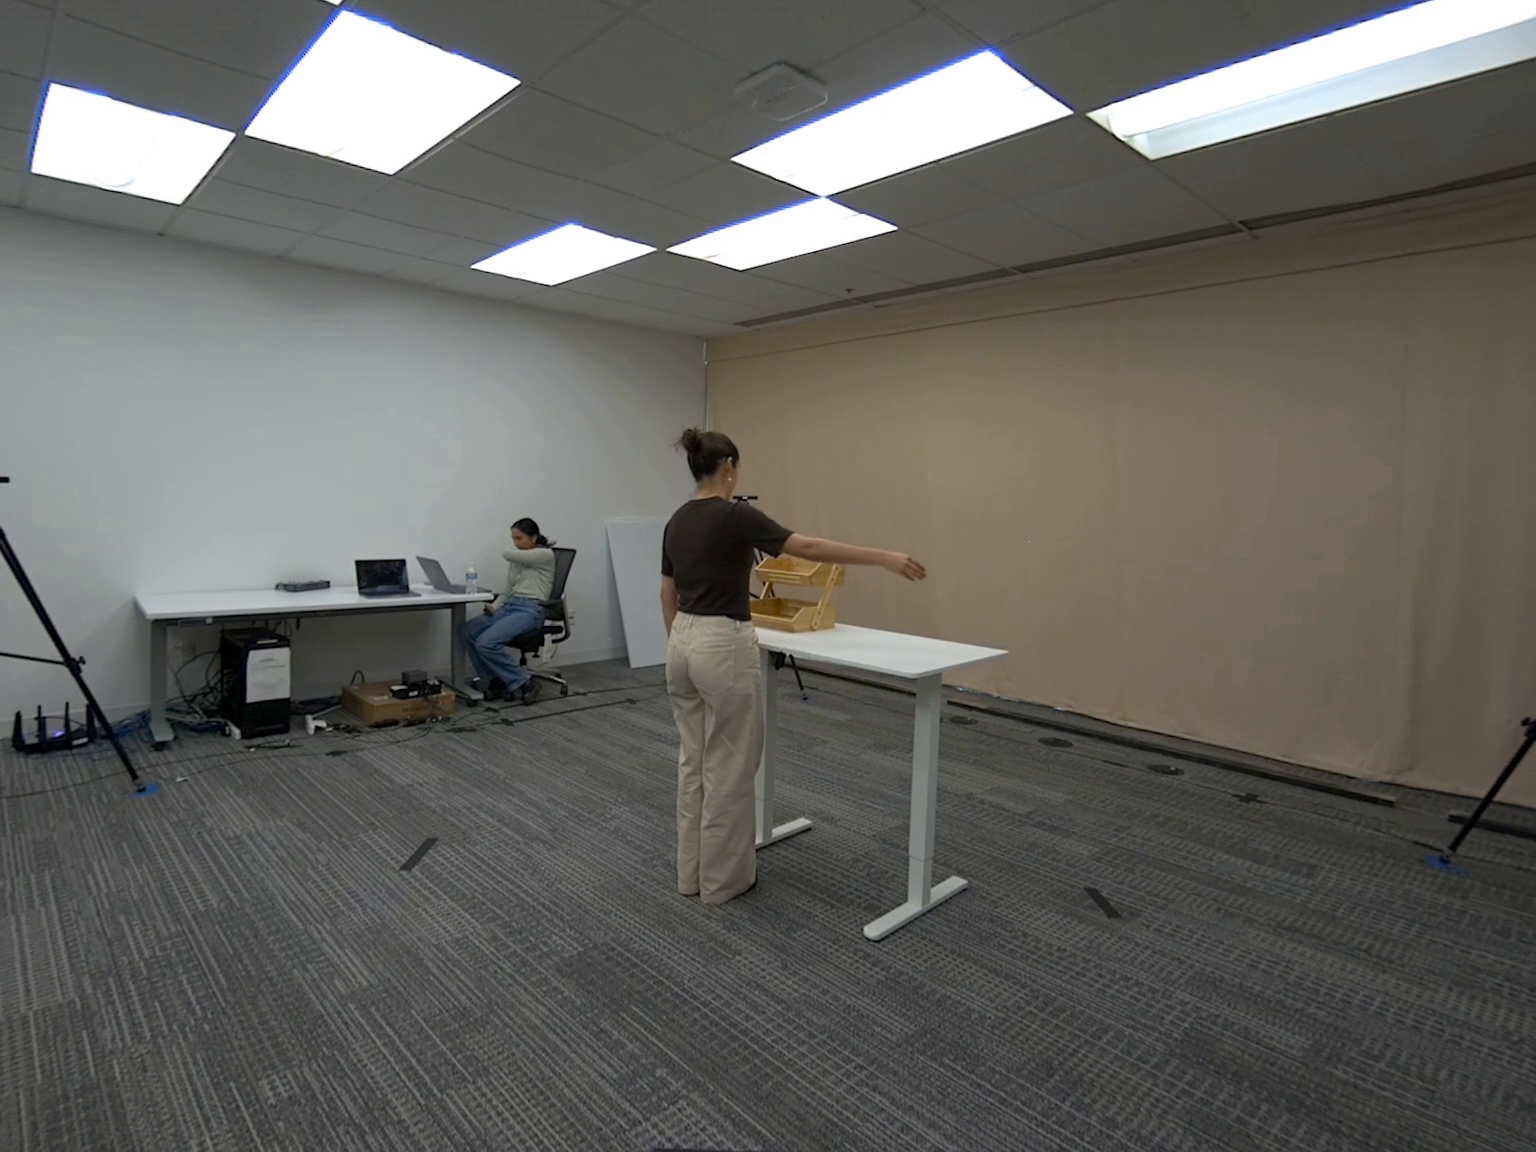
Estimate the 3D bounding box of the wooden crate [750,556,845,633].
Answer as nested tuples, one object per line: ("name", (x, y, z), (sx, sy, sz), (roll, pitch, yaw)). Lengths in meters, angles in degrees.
("wooden crate", (0.087, 0.066, 3.379), (0.333, 0.273, 0.295), (6, 5, 44))
